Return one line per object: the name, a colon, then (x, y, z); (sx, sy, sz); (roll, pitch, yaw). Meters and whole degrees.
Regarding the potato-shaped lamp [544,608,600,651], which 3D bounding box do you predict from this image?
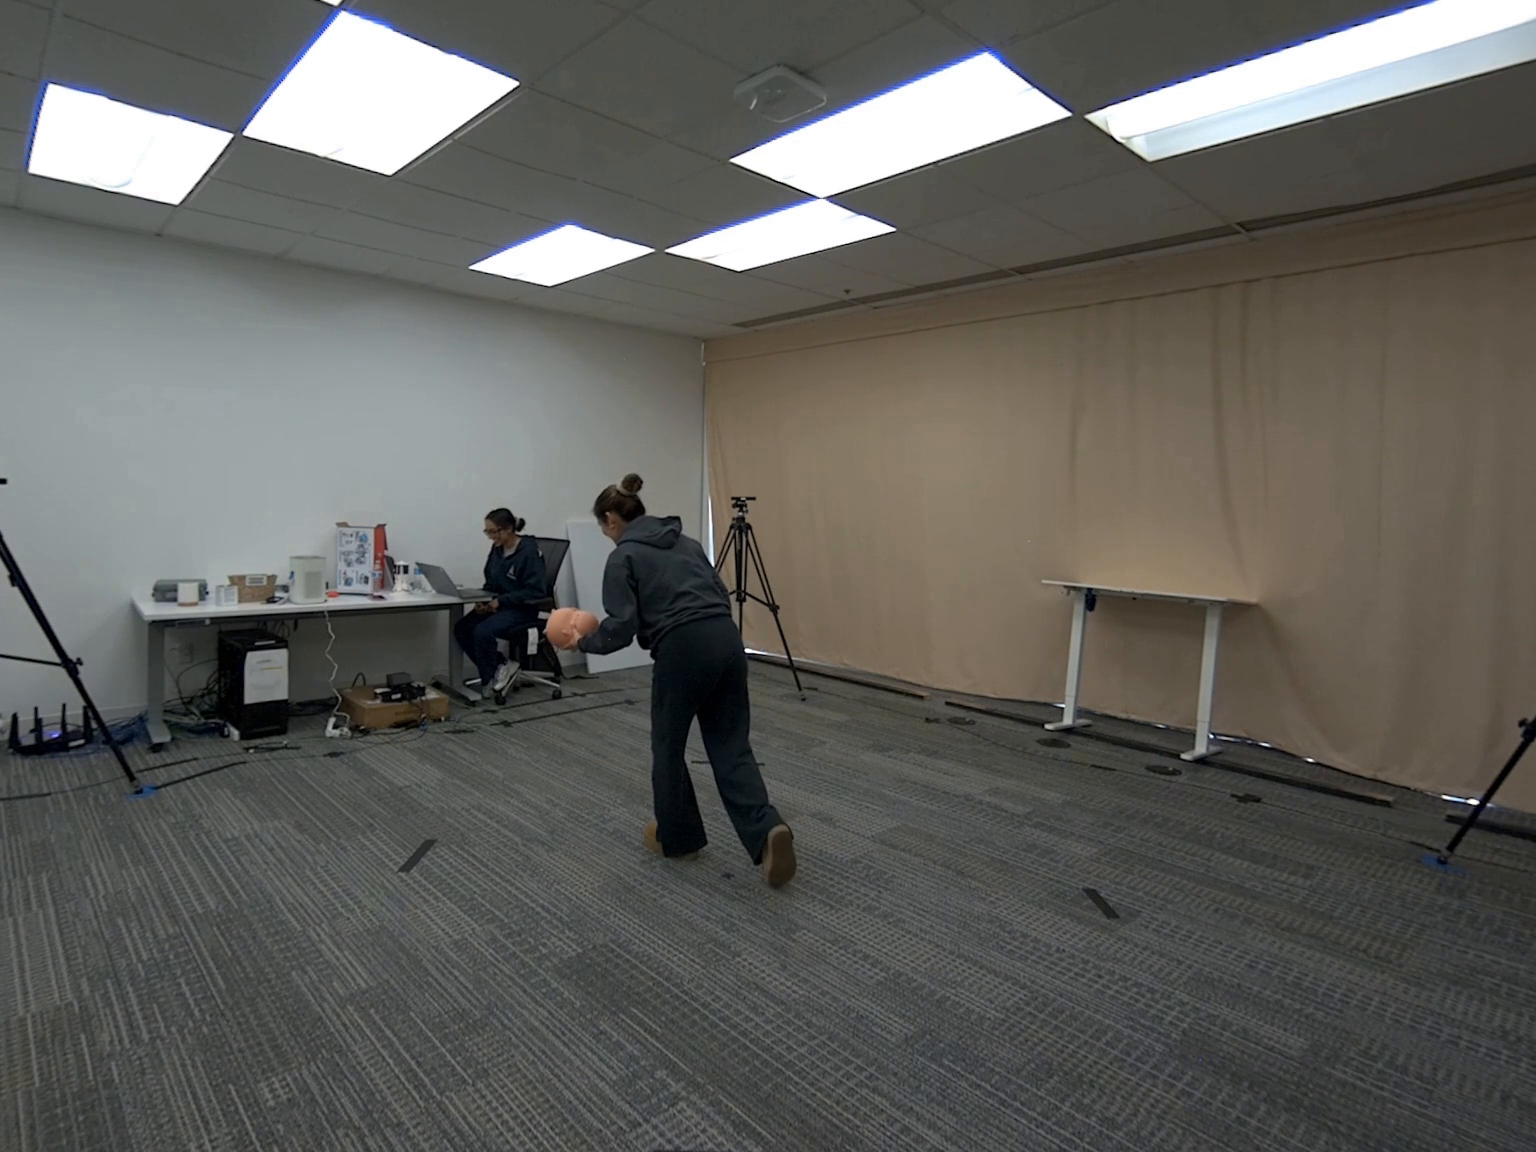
potato-shaped lamp: (-0.774, 0.210, 3.356); (0.201, 0.167, 0.166); (-8, -44, 23)
